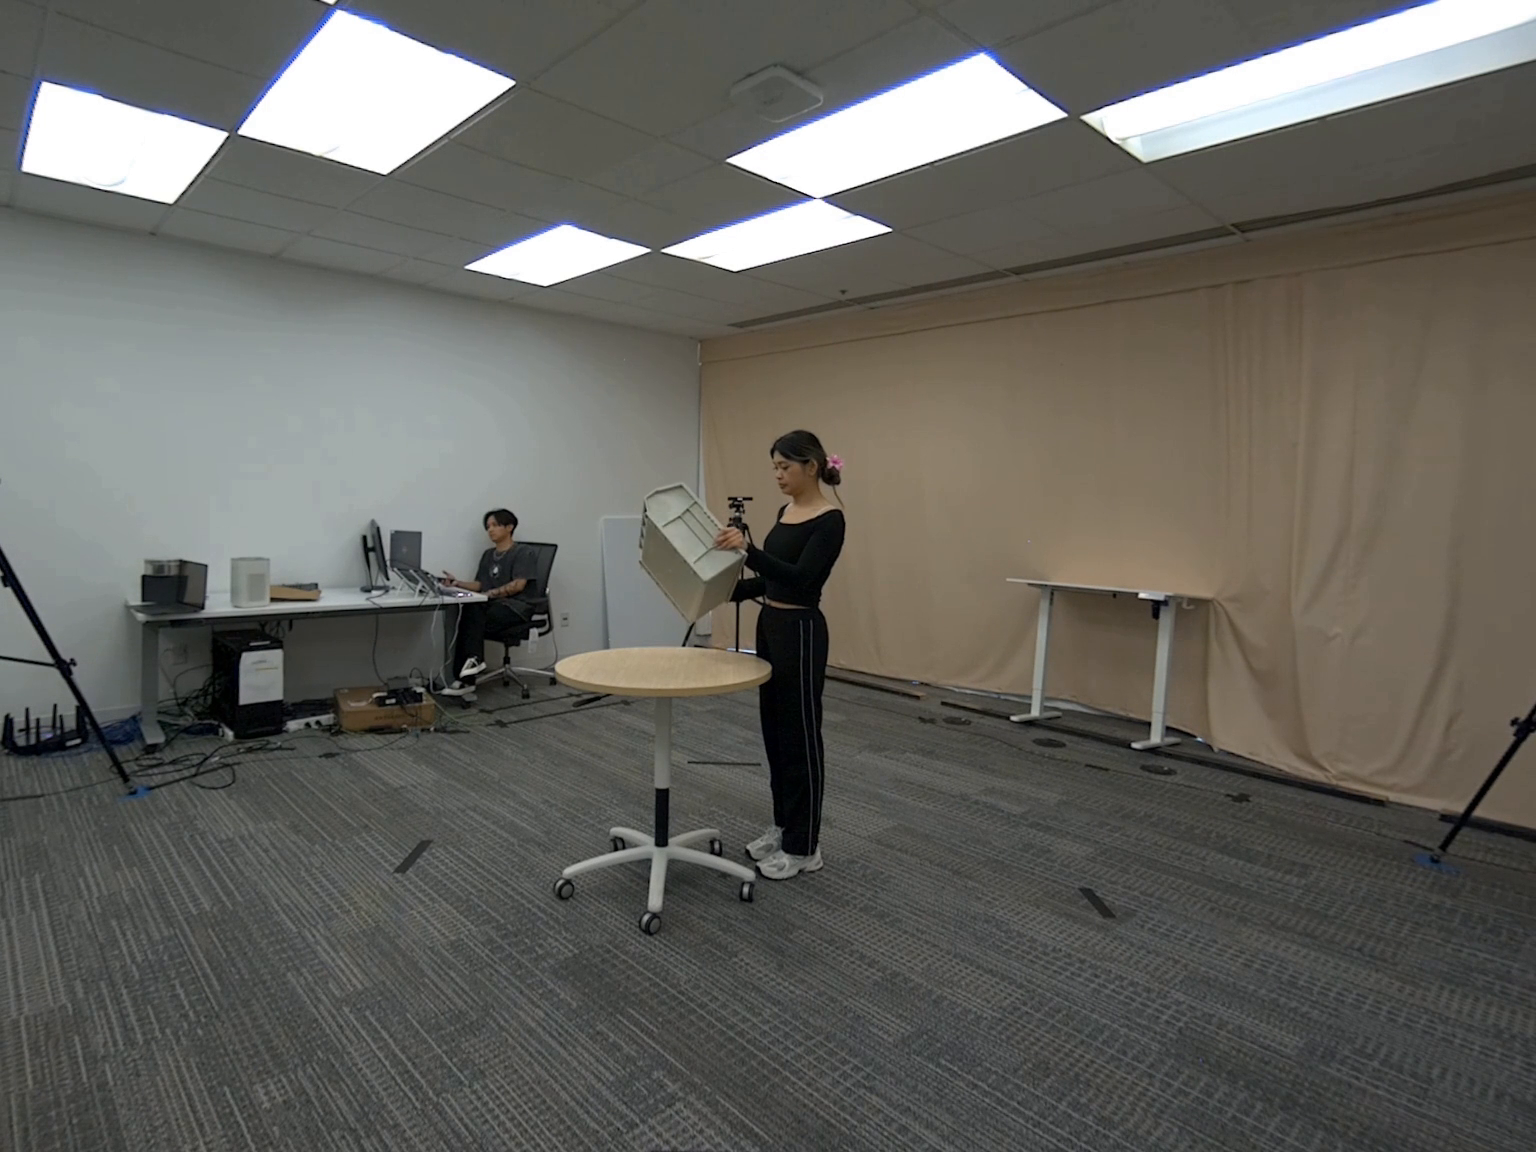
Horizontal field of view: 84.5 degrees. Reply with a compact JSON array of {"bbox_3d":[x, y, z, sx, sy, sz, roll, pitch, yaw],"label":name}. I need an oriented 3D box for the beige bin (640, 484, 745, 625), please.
[{"bbox_3d":[-0.298,-0.074,2.989,0.188,0.383,0.418,-35,-14,-23],"label":"beige bin"}]
